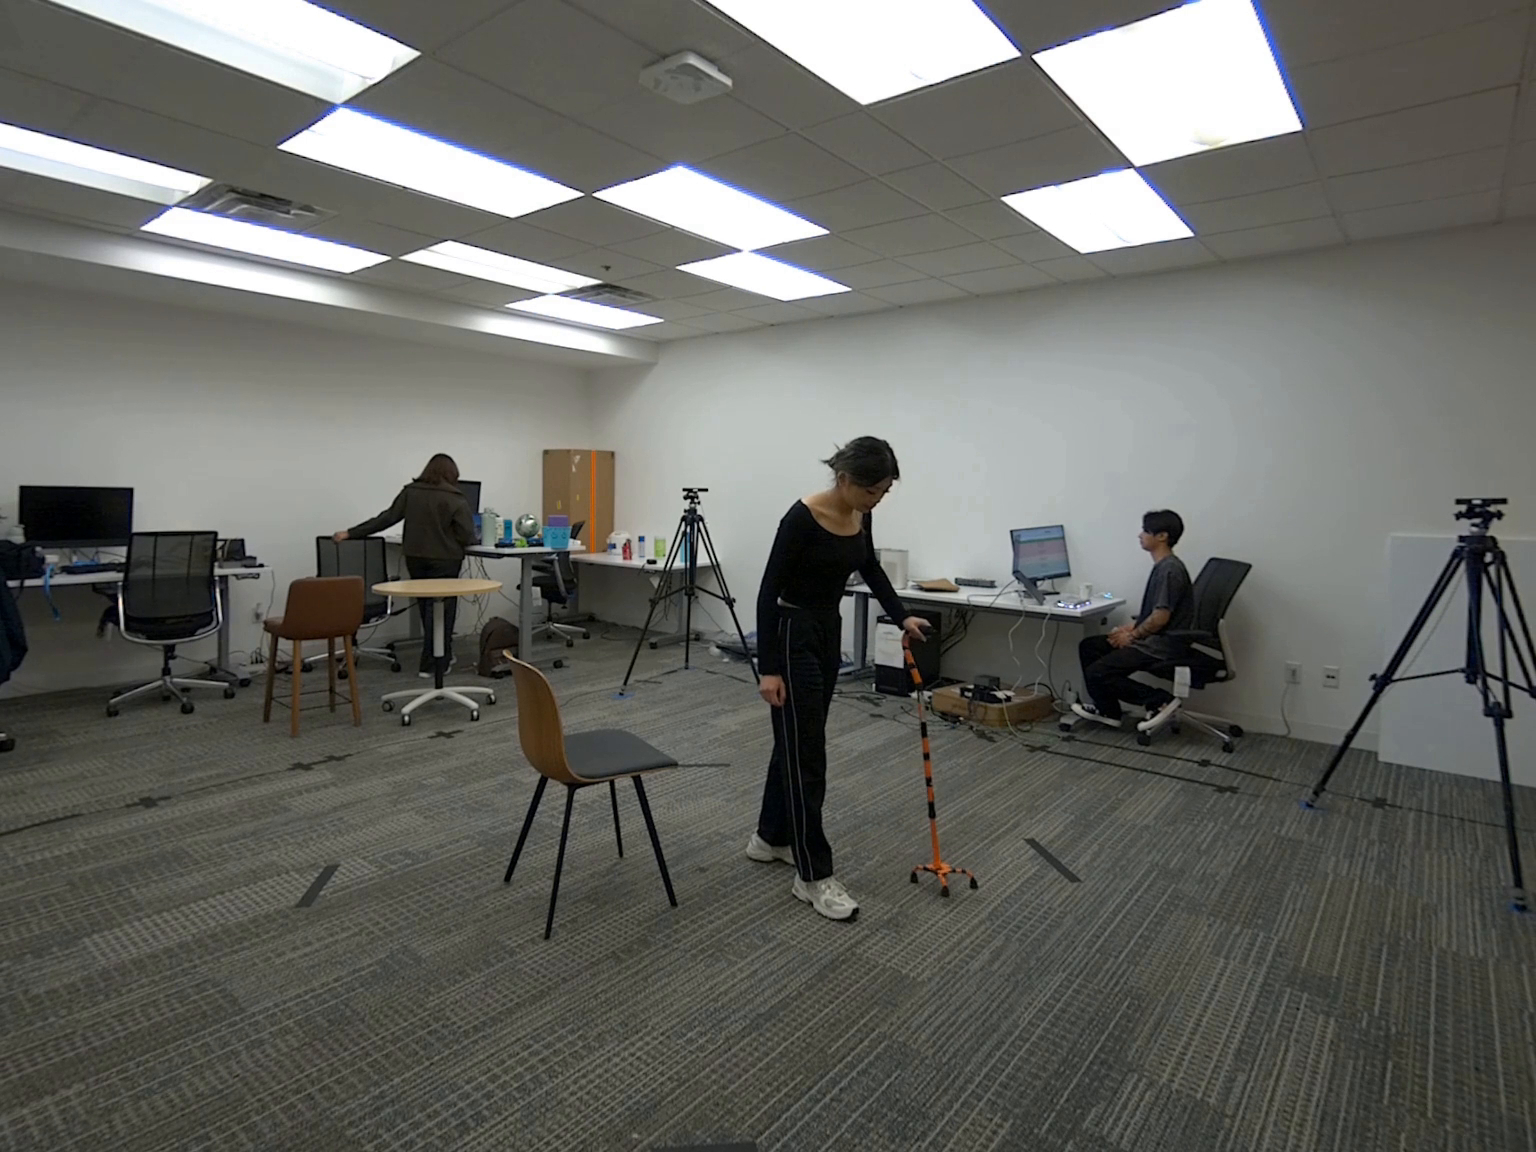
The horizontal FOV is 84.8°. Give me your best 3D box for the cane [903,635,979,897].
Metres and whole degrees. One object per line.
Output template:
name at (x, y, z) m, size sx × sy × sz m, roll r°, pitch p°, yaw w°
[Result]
cane at (0.570, 0.632, 3.026) m, size 0.148 × 0.910 × 0.211 m, roll -4°, pitch -3°, yaw -26°
